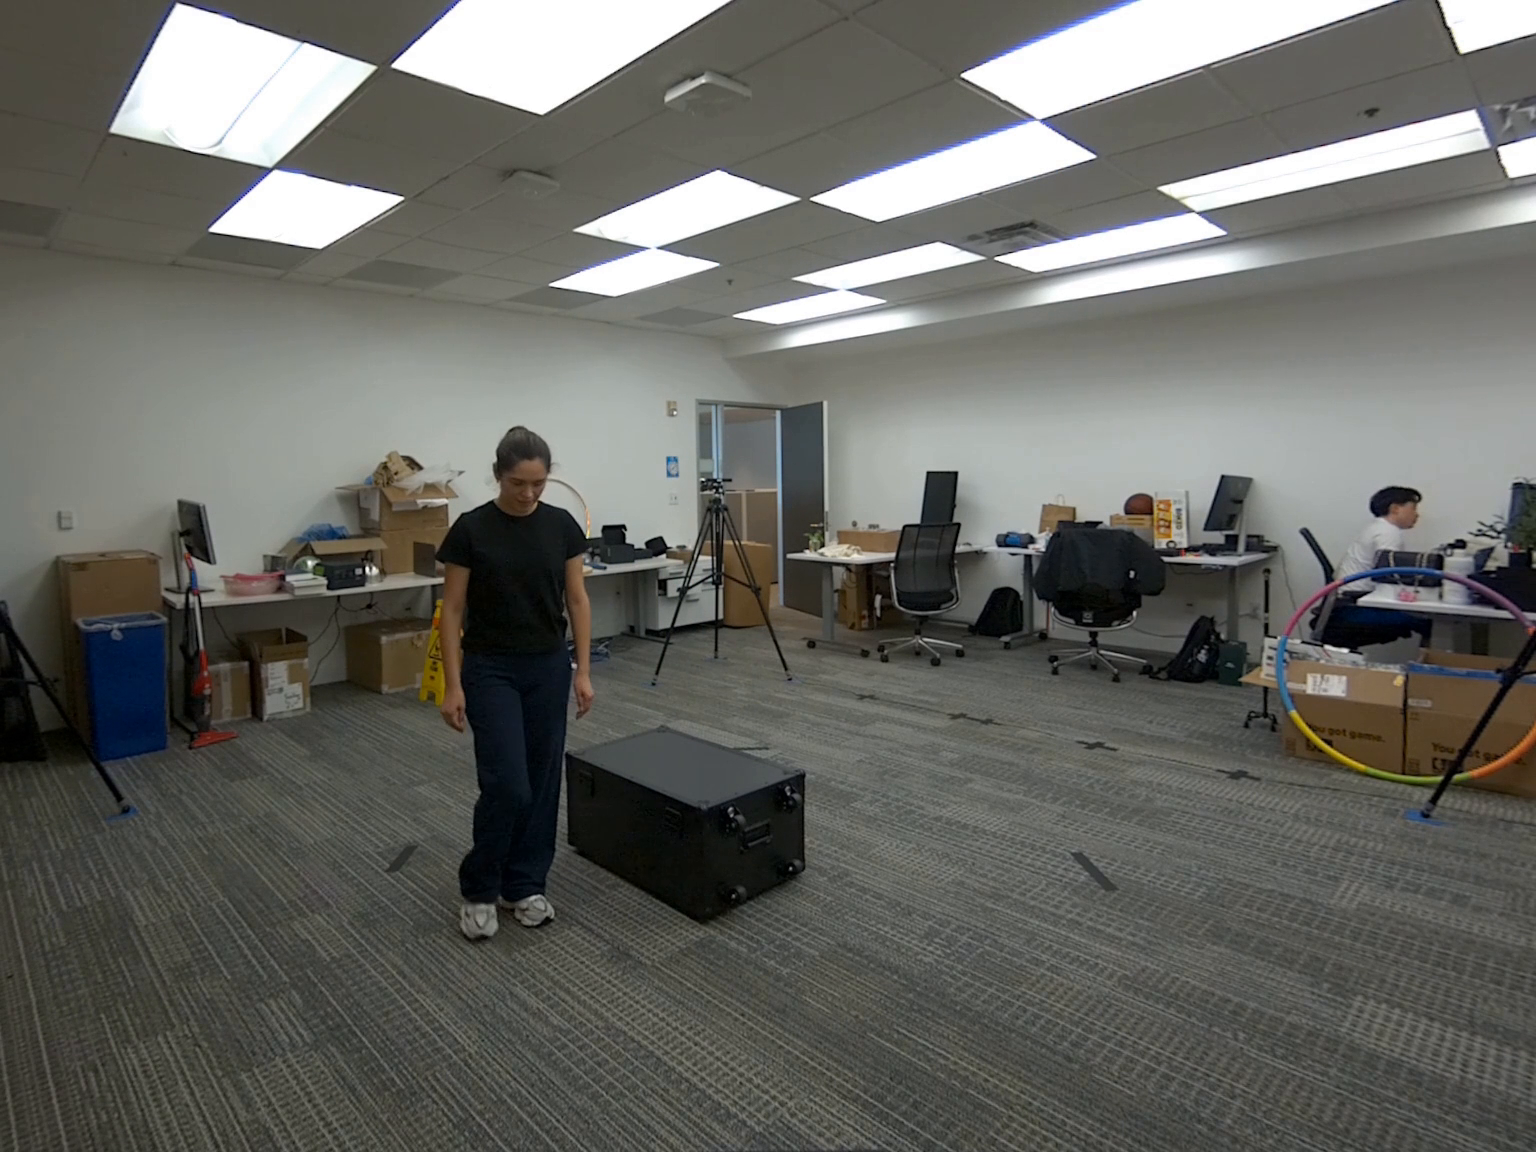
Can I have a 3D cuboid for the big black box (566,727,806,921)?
[{"bbox_3d":[-0.295,0.860,3.097,0.888,0.394,0.508,4,8,45],"label":"big black box"}]
